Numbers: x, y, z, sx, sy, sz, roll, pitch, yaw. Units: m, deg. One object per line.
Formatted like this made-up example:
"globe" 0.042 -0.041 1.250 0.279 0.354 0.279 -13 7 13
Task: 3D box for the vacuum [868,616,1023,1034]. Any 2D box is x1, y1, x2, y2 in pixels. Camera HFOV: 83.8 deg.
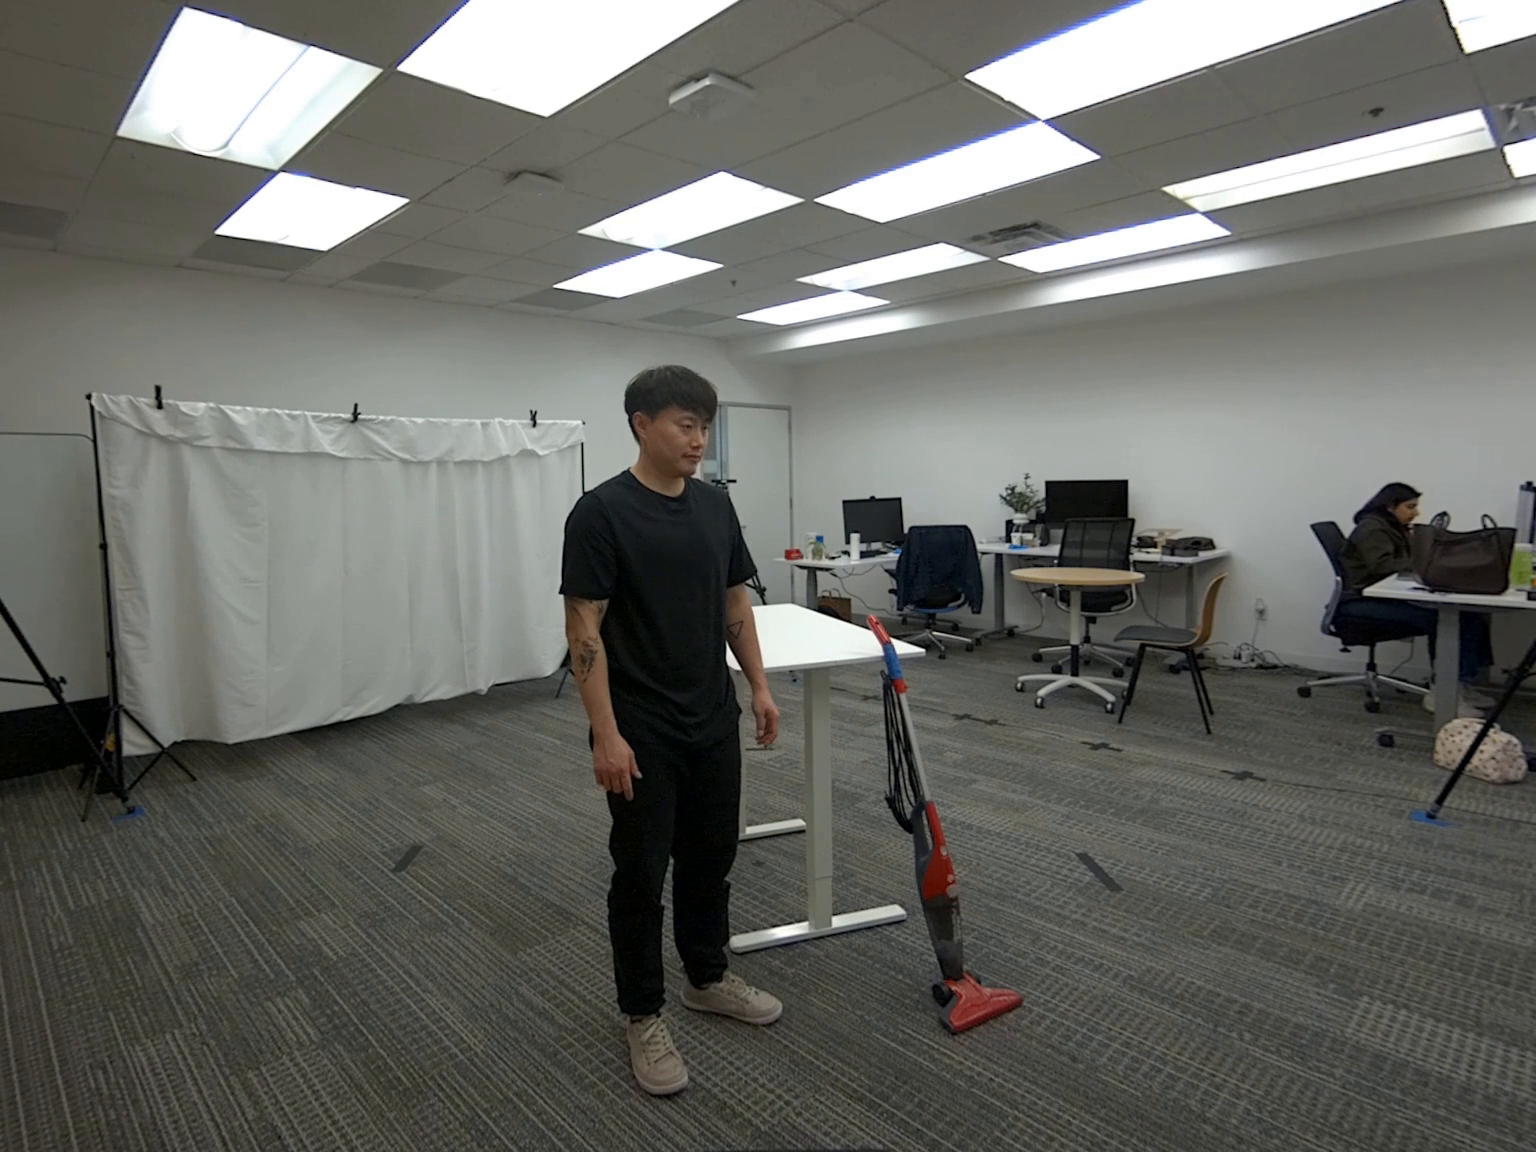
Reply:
"vacuum" 0.430 0.637 2.389 0.246 1.067 0.145 -3 -19 -33
